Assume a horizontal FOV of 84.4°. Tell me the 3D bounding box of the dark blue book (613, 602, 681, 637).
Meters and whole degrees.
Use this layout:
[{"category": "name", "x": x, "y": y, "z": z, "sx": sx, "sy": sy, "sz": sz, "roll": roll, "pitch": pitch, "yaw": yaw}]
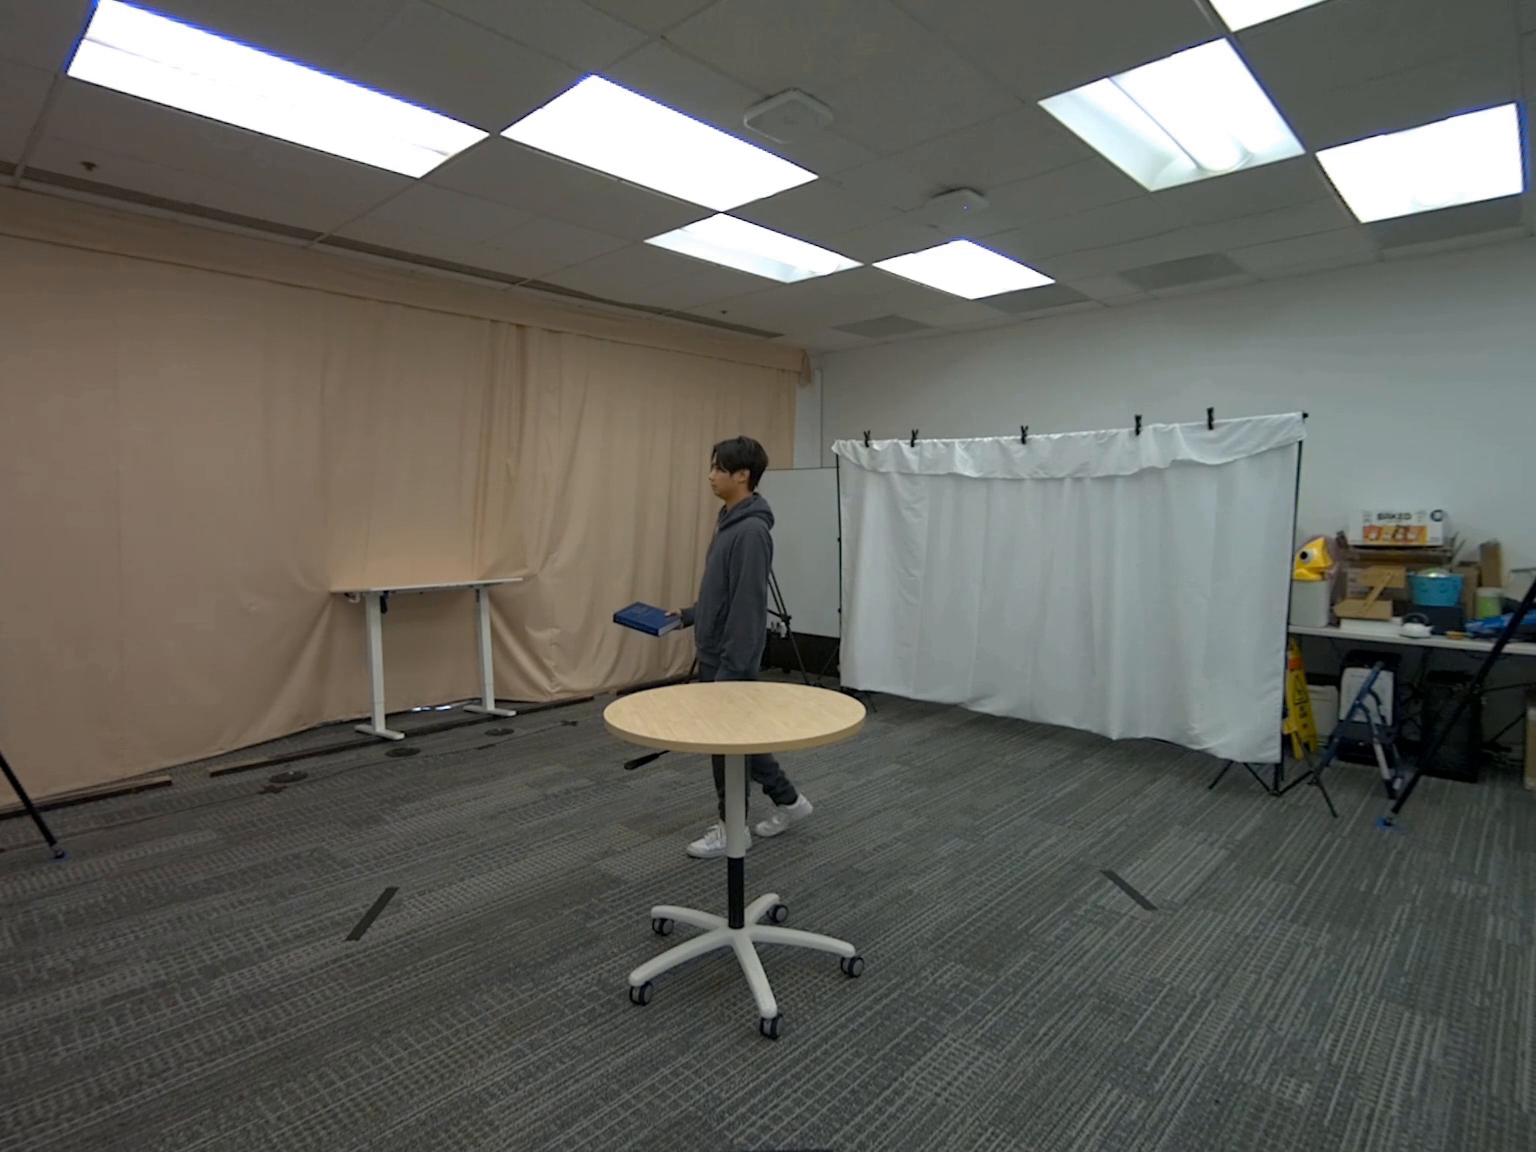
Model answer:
[{"category": "dark blue book", "x": -0.511, "y": 0.185, "z": 3.566, "sx": 0.253, "sy": 0.045, "sz": 0.160, "roll": 14, "pitch": 23, "yaw": 29}]
